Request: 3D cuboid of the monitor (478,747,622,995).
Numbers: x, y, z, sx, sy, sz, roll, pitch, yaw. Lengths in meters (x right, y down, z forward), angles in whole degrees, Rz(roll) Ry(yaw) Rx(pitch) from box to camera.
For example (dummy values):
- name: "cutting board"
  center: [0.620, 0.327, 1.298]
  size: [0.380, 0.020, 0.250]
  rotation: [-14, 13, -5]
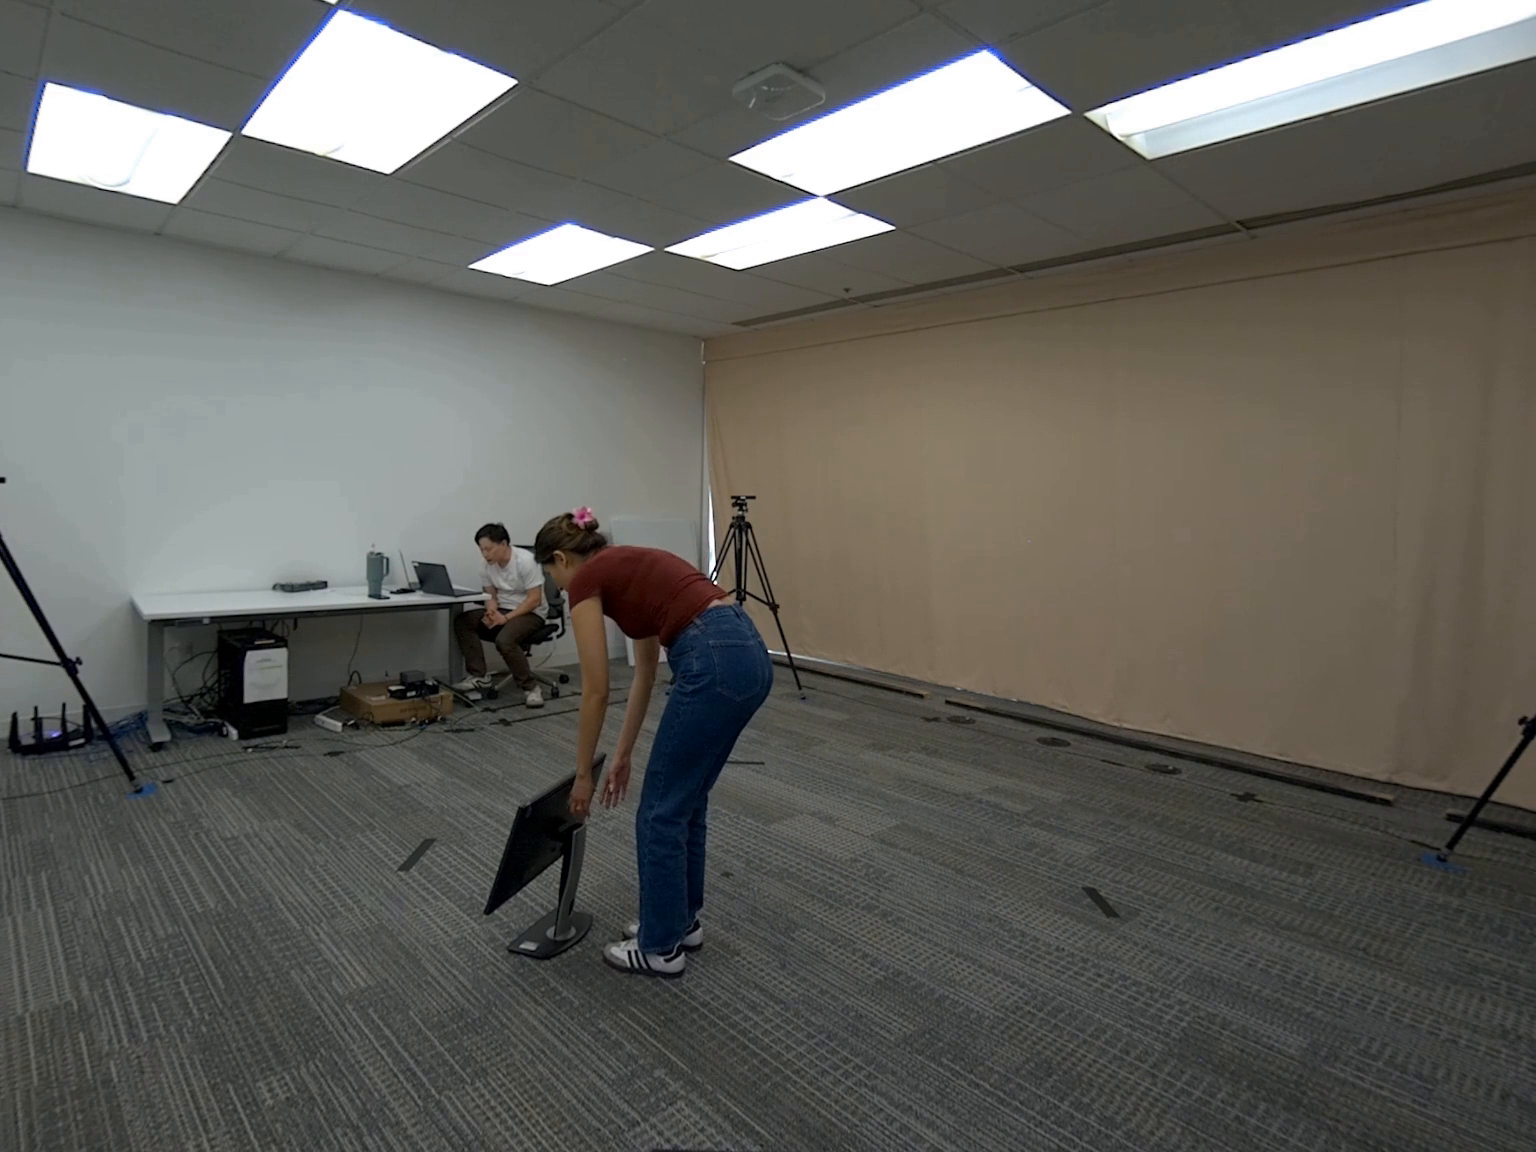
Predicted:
- name: "monitor"
  center: [-0.657, 0.880, 2.637]
  size: [0.189, 0.521, 0.534]
  rotation: [5, 5, 14]
